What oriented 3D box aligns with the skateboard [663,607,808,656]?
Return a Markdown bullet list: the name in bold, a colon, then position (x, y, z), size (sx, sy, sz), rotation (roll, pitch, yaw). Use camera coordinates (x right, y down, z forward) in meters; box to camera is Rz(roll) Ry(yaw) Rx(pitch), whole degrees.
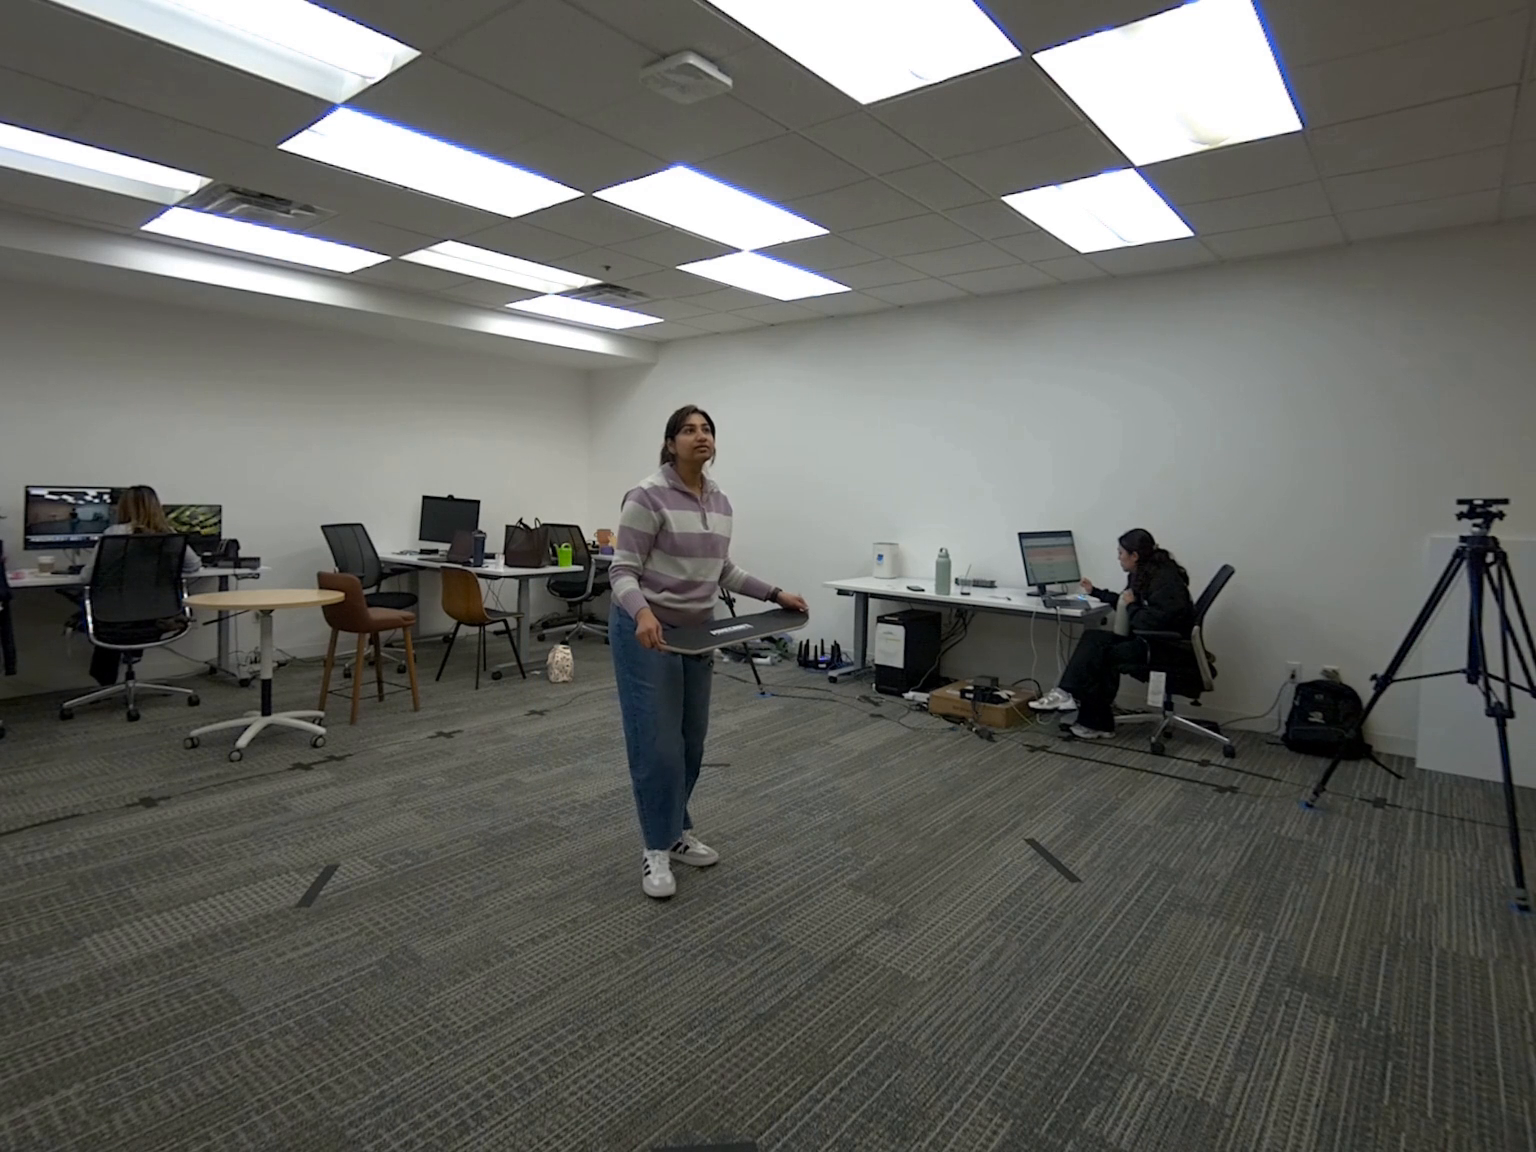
- **skateboard**: position (-0.141, 0.221, 2.956), size (0.201, 0.109, 0.763), rotation (18, 17, 39)
